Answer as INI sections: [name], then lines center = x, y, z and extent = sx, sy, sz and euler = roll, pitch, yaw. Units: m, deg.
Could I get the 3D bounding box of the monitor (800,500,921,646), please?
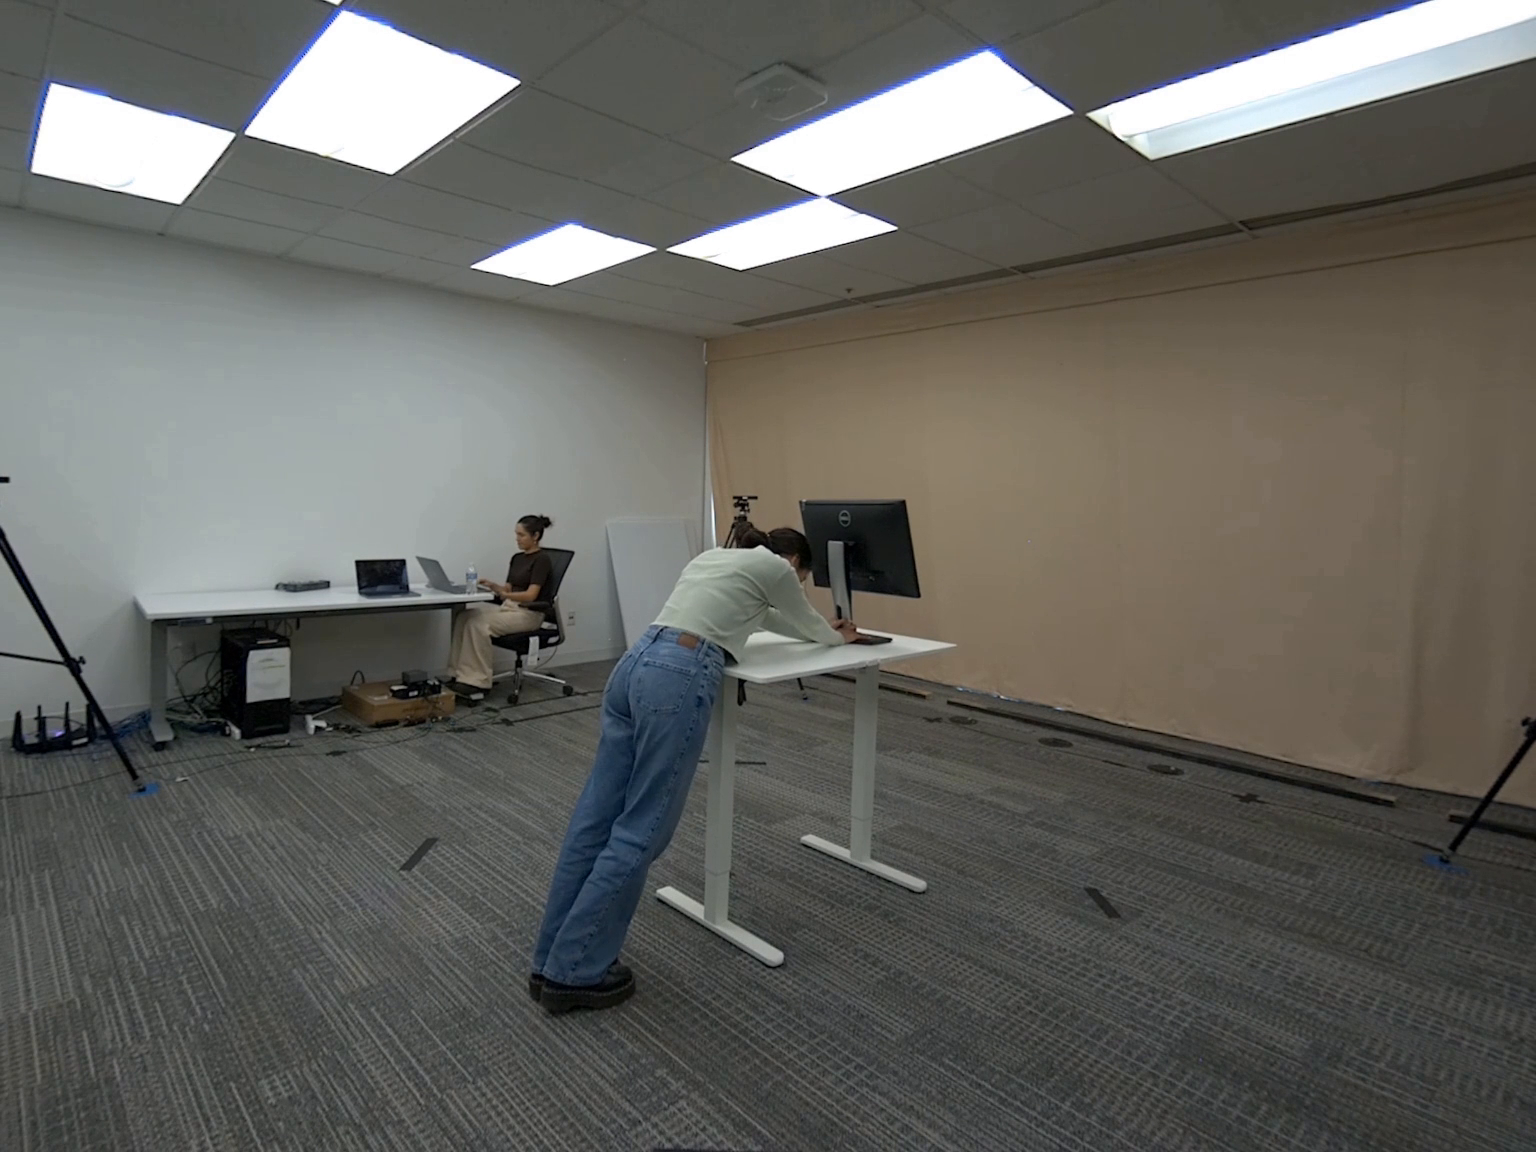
[monitor]
center = 0.297, -0.019, 3.089
extent = 0.183, 0.521, 0.552
euler = -4, 5, -40
